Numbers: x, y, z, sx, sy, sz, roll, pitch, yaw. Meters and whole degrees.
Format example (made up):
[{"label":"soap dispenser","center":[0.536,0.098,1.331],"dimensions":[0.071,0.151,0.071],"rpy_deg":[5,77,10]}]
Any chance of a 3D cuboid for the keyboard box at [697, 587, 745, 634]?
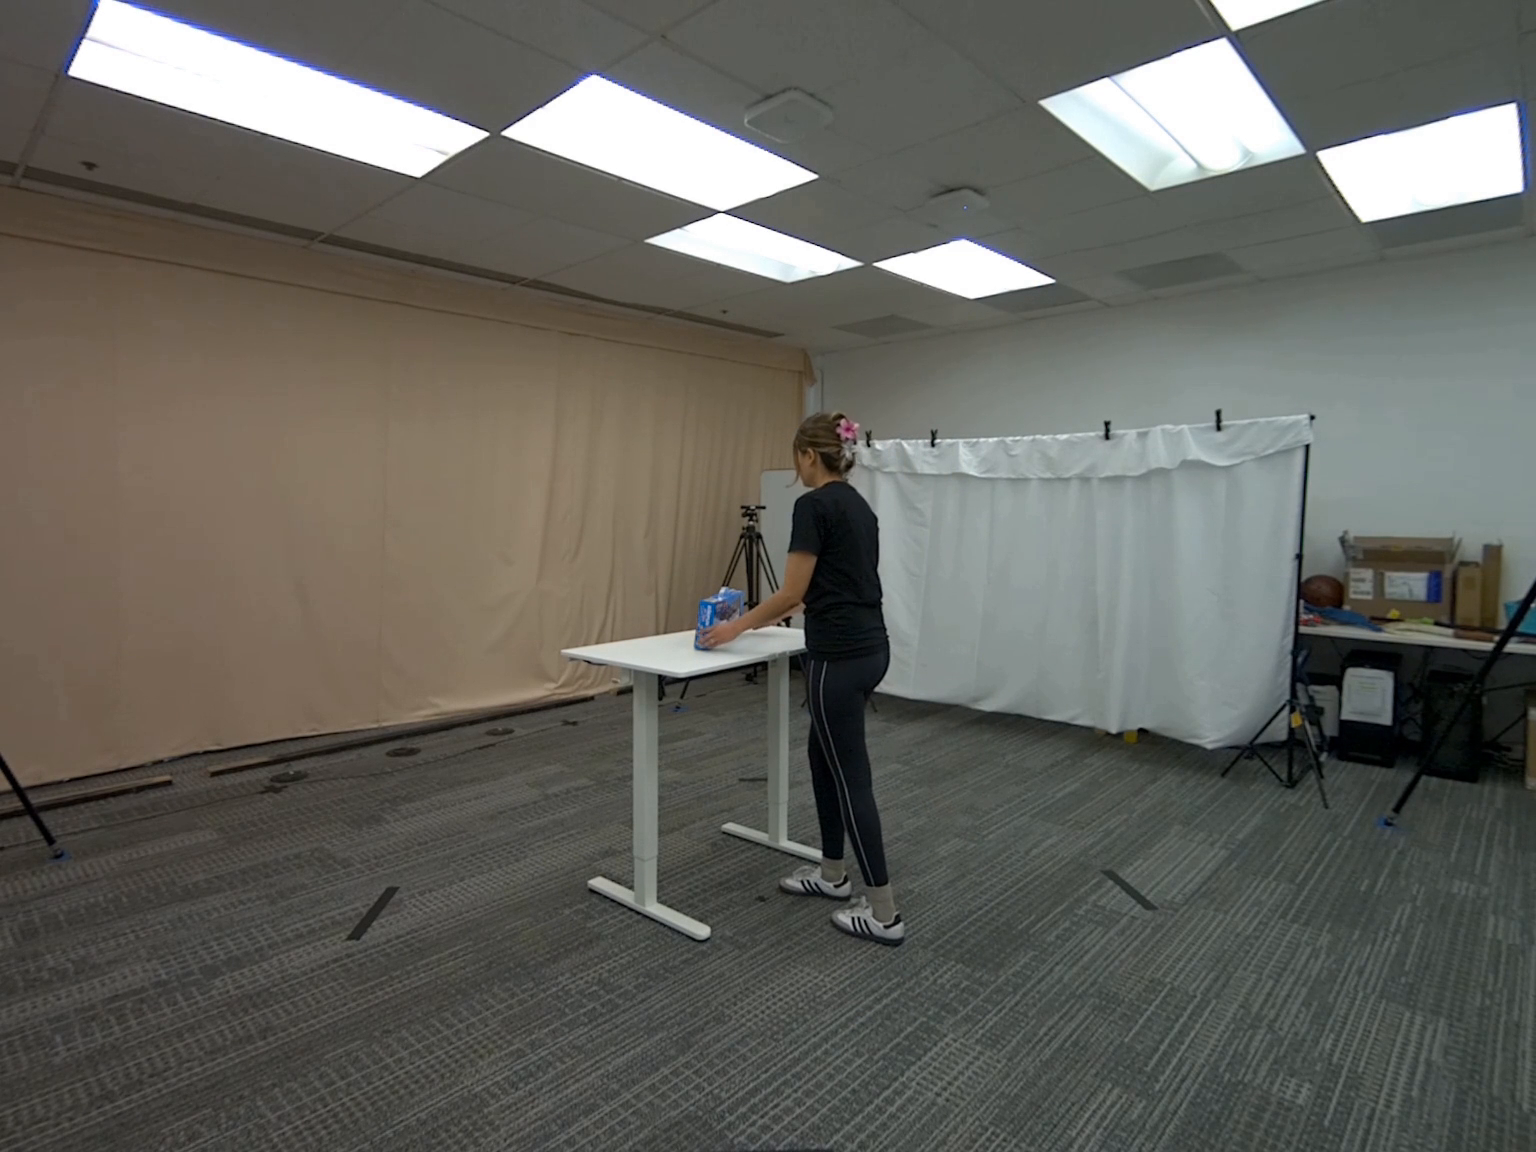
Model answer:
[{"label":"keyboard box","center":[-0.172,0.160,3.167],"dimensions":[0.060,0.175,0.430],"rpy_deg":[8,6,13]}]
